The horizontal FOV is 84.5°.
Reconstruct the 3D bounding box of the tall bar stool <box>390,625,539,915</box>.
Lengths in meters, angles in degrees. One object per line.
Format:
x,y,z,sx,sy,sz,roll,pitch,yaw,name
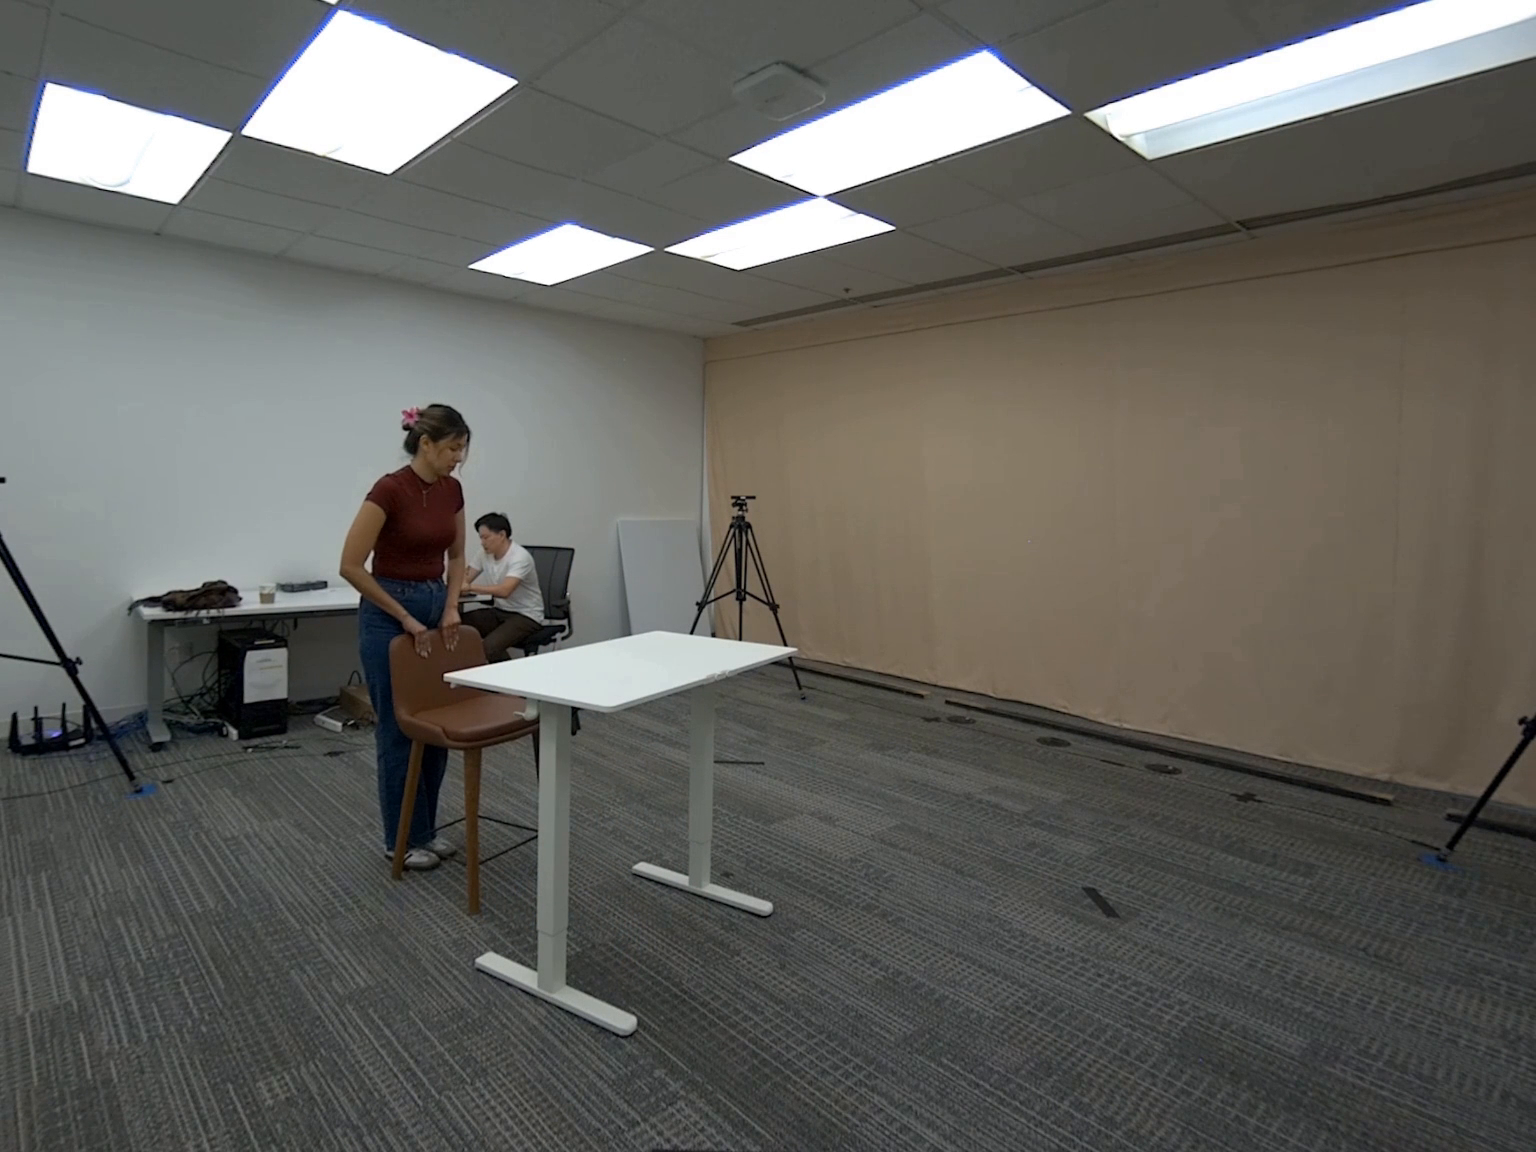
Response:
-1.070,0.652,3.030,0.478,0.888,0.447,1,3,31,tall bar stool
